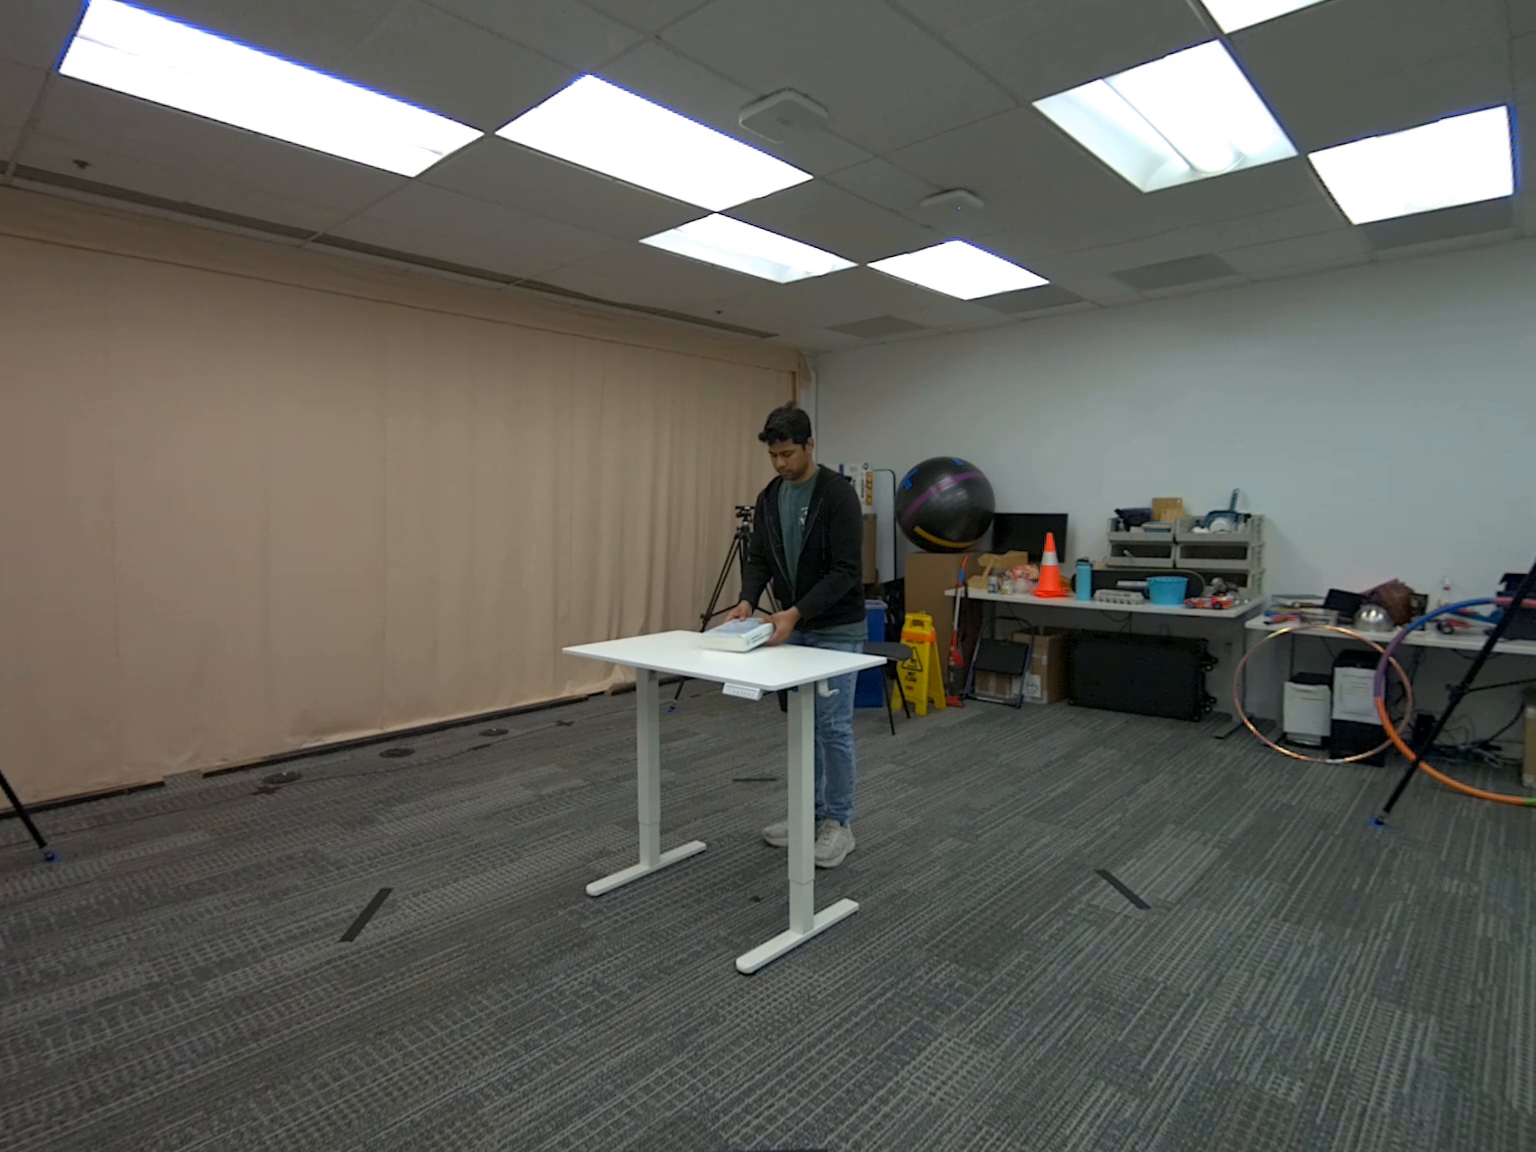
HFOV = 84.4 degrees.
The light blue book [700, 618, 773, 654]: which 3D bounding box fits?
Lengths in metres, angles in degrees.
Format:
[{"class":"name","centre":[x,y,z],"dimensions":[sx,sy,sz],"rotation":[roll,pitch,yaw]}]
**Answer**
[{"class":"light blue book","centre":[-0.124,0.215,3.057],"dimensions":[0.197,0.059,0.255],"rotation":[0,9,30]}]
